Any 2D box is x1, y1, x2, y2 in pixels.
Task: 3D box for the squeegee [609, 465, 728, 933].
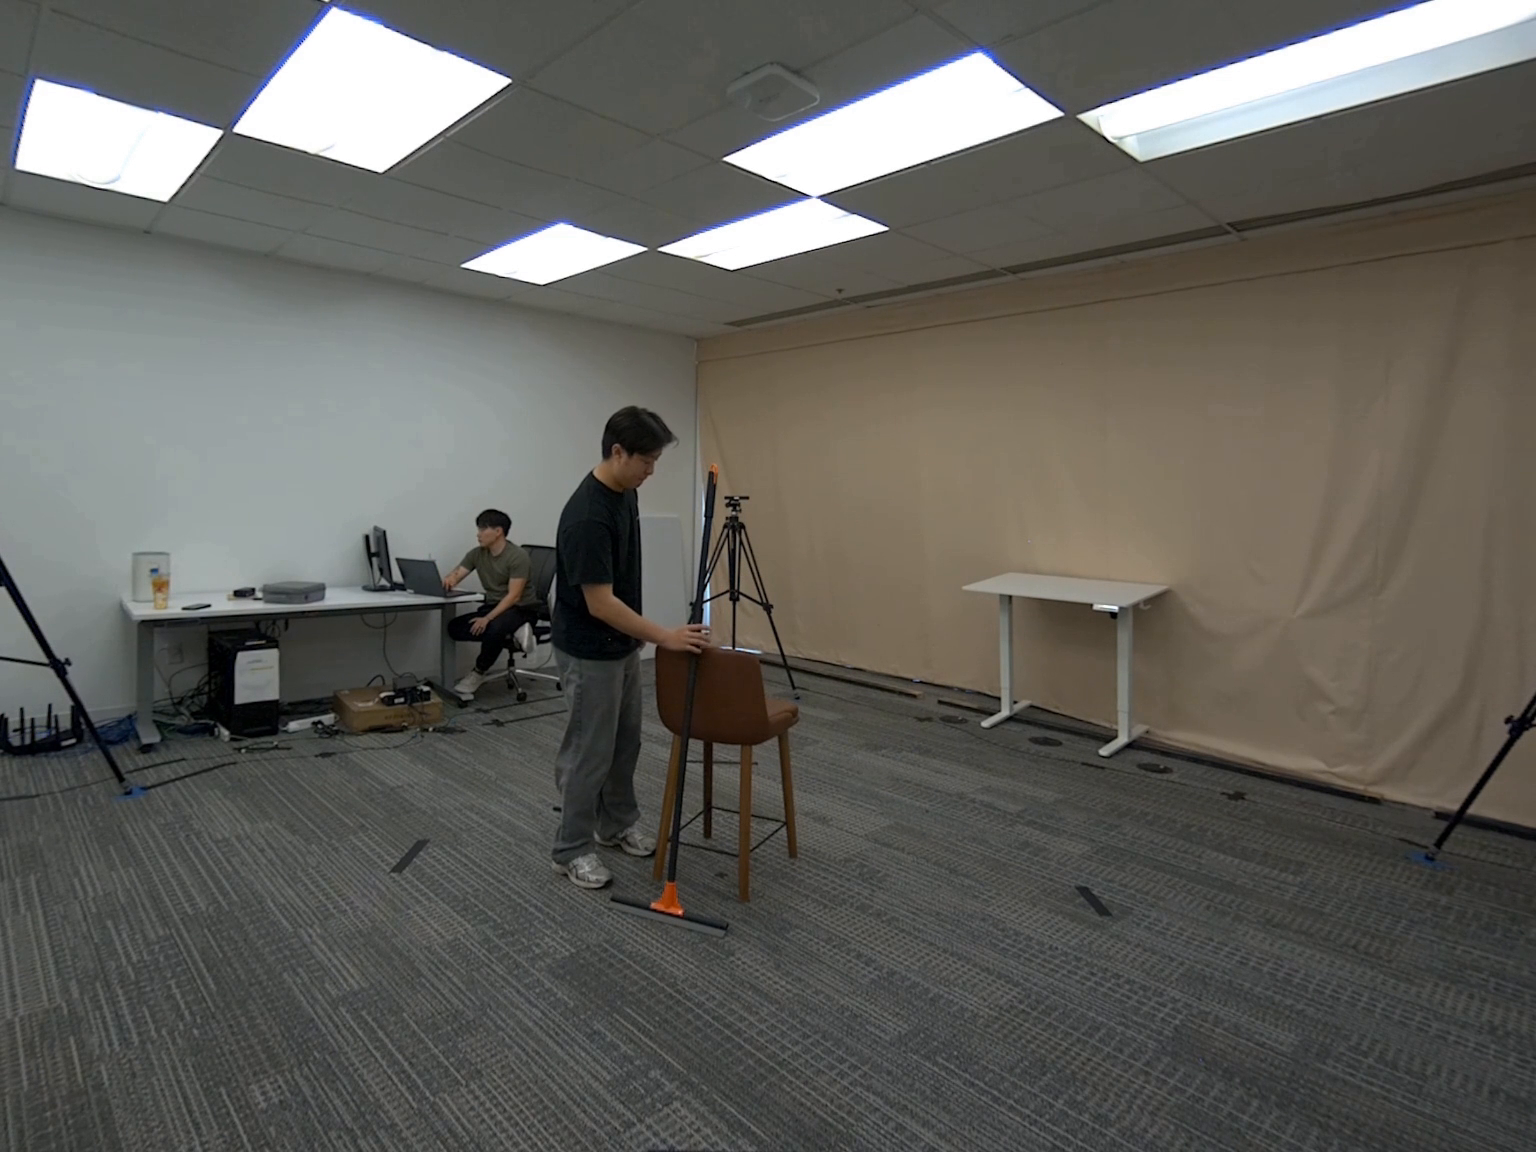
[{"bbox_3d":[-0.254,0.378,2.849,0.445,1.543,0.052,5,-6,21],"label":"squeegee"}]
